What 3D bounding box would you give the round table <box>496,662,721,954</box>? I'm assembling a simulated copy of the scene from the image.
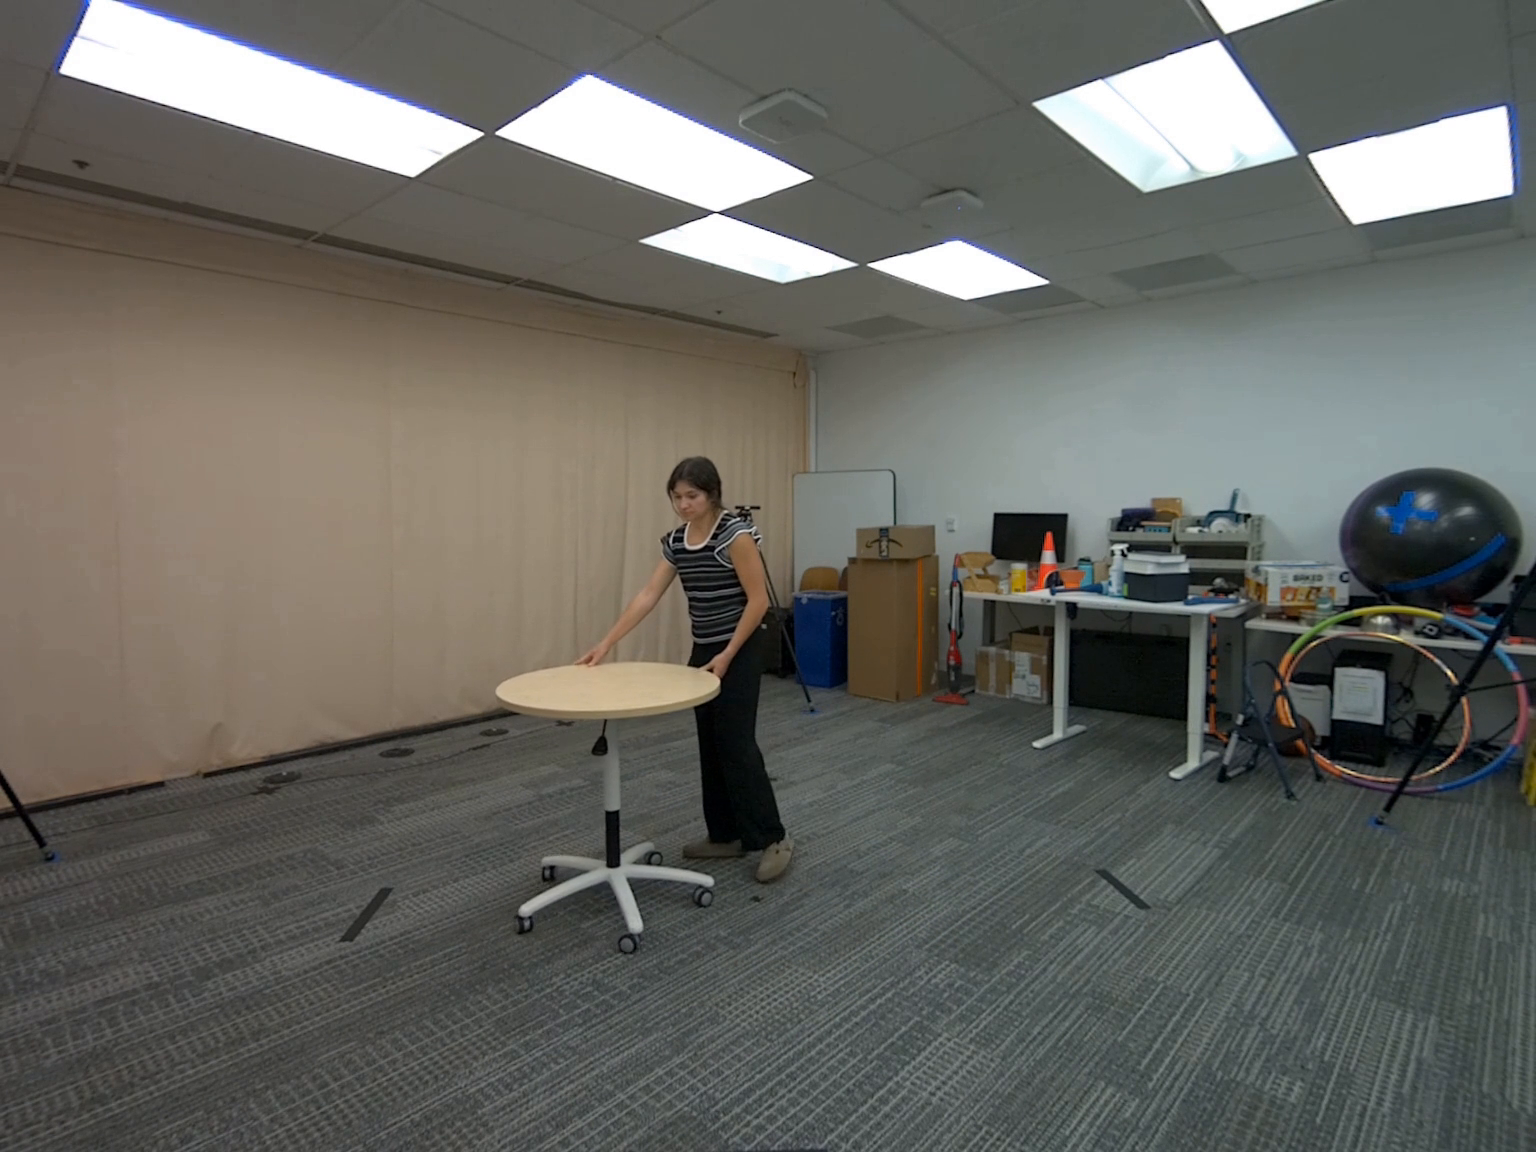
[{"bbox_3d":[-0.544,0.763,2.913,0.784,0.785,0.787,-1,3,-2],"label":"round table"}]
